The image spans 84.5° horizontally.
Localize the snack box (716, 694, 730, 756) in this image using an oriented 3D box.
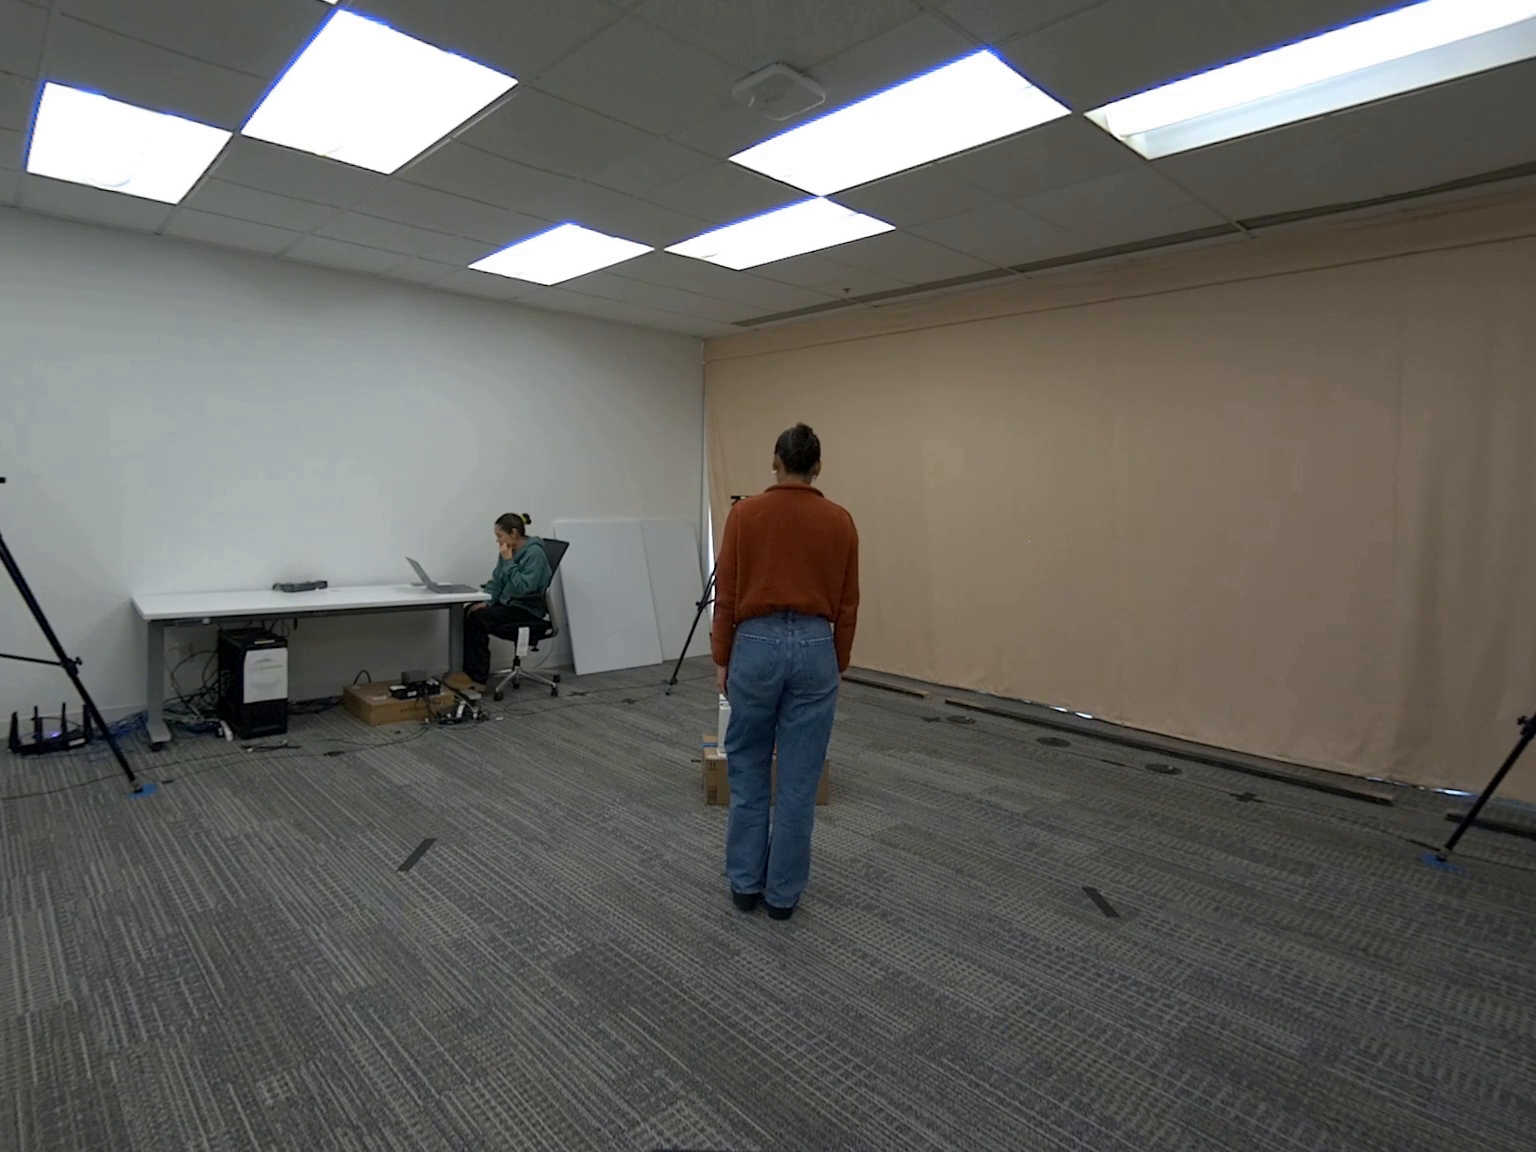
[{"bbox_3d":[-0.036,0.709,4.036,0.404,0.205,0.341,2,2,-2],"label":"snack box"}]
